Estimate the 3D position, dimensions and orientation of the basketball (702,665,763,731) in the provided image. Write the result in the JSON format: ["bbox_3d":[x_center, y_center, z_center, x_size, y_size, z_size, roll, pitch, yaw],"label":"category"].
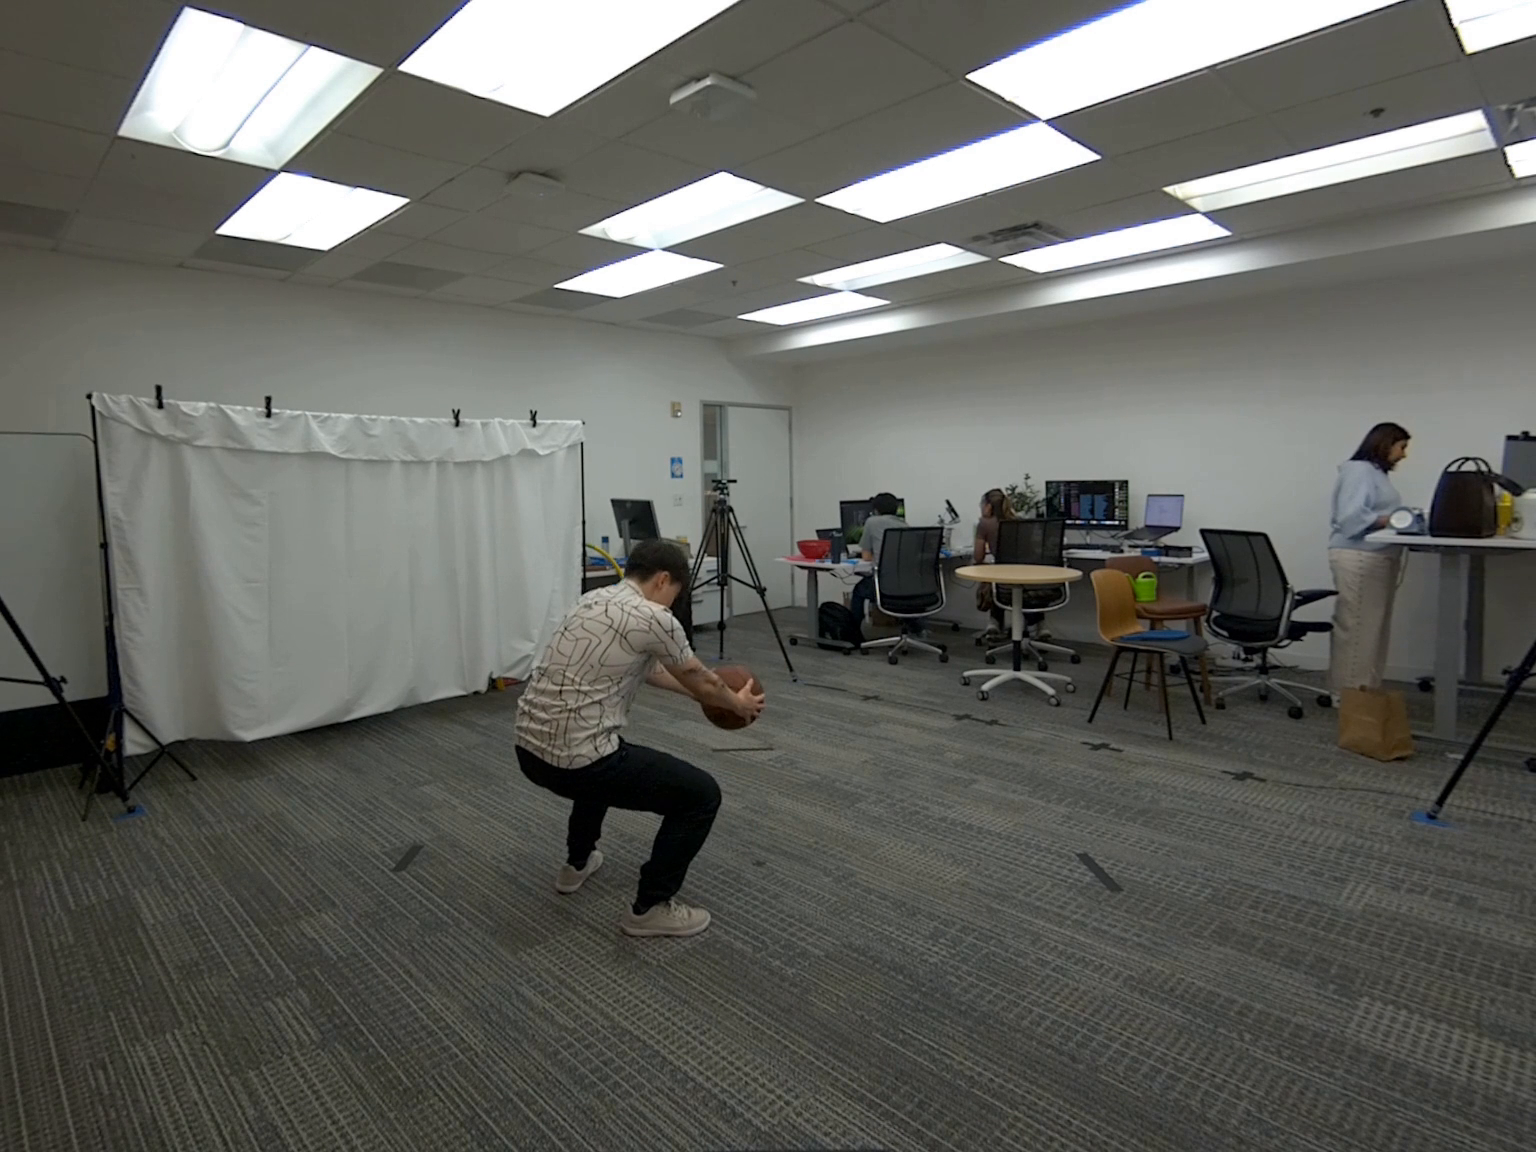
[{"bbox_3d":[-0.130,0.456,3.174,0.236,0.235,0.237,-1,5,-2],"label":"basketball"}]
